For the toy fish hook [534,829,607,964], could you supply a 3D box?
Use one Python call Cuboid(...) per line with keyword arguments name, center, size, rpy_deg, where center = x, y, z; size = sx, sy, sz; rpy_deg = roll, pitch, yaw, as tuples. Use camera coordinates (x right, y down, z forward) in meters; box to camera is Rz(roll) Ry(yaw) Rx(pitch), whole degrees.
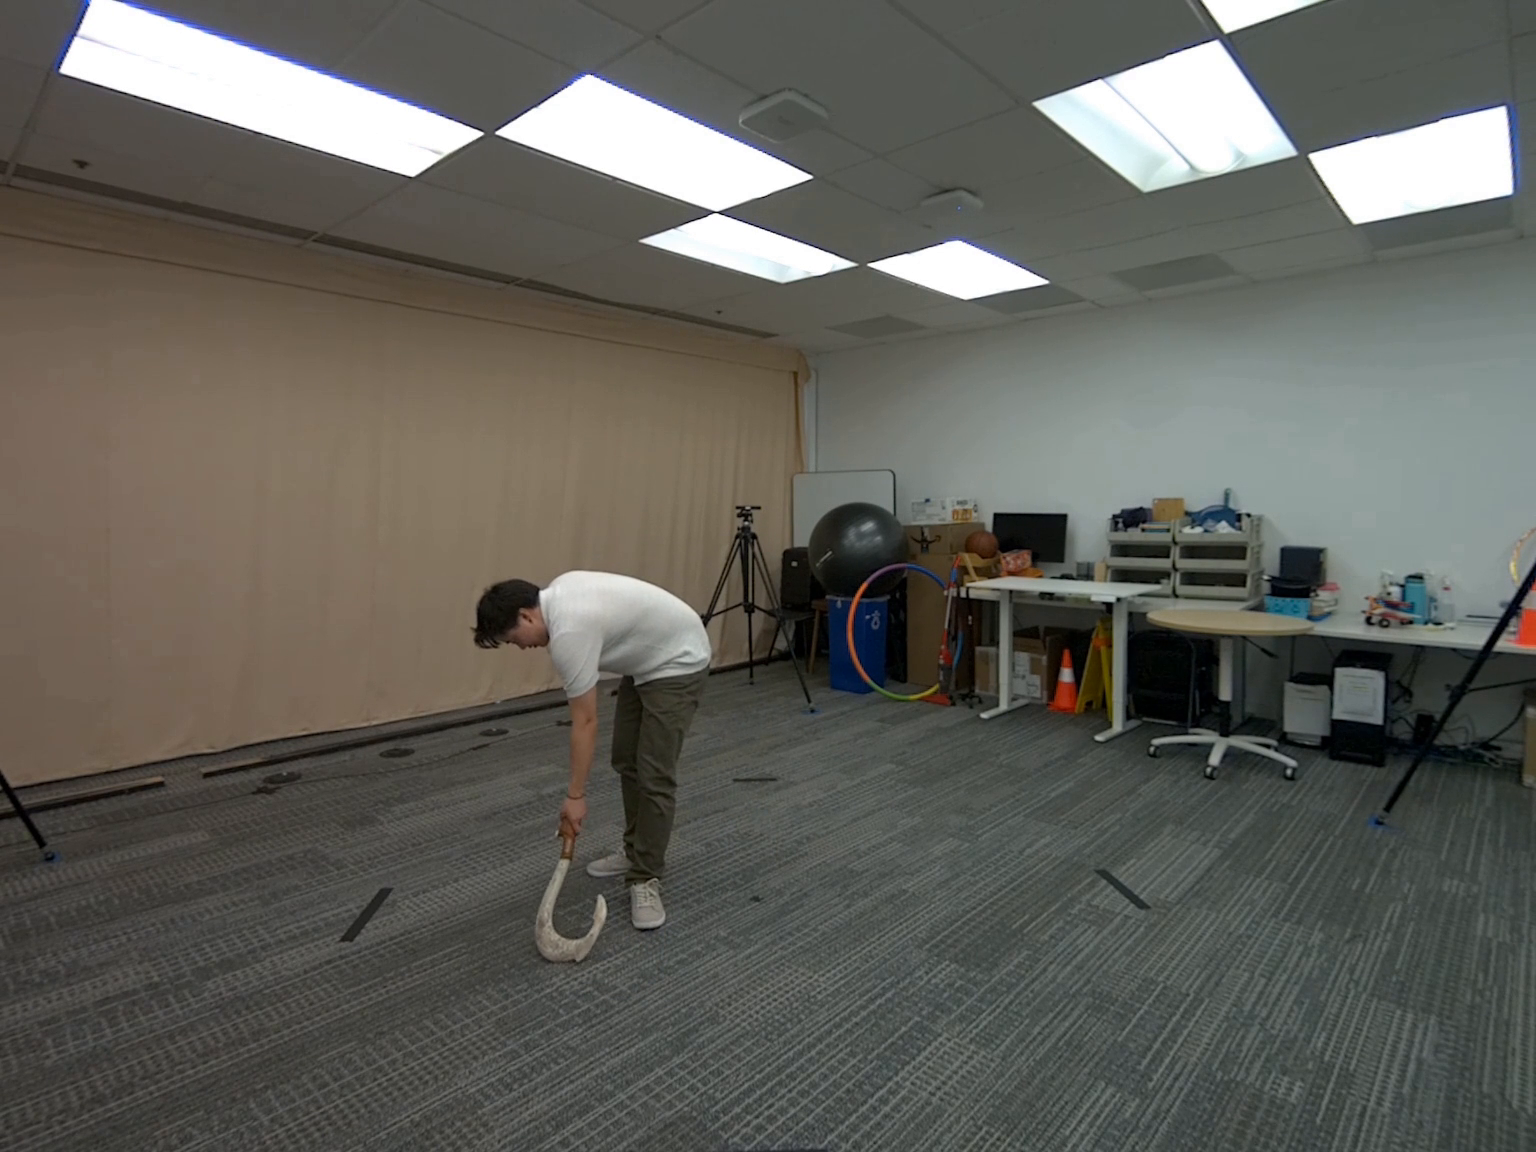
Cuboid(name="toy fish hook", center=(-0.605, 0.969, 2.726), size=(0.225, 0.516, 0.047), rpy_deg=(-4, -37, 3))
